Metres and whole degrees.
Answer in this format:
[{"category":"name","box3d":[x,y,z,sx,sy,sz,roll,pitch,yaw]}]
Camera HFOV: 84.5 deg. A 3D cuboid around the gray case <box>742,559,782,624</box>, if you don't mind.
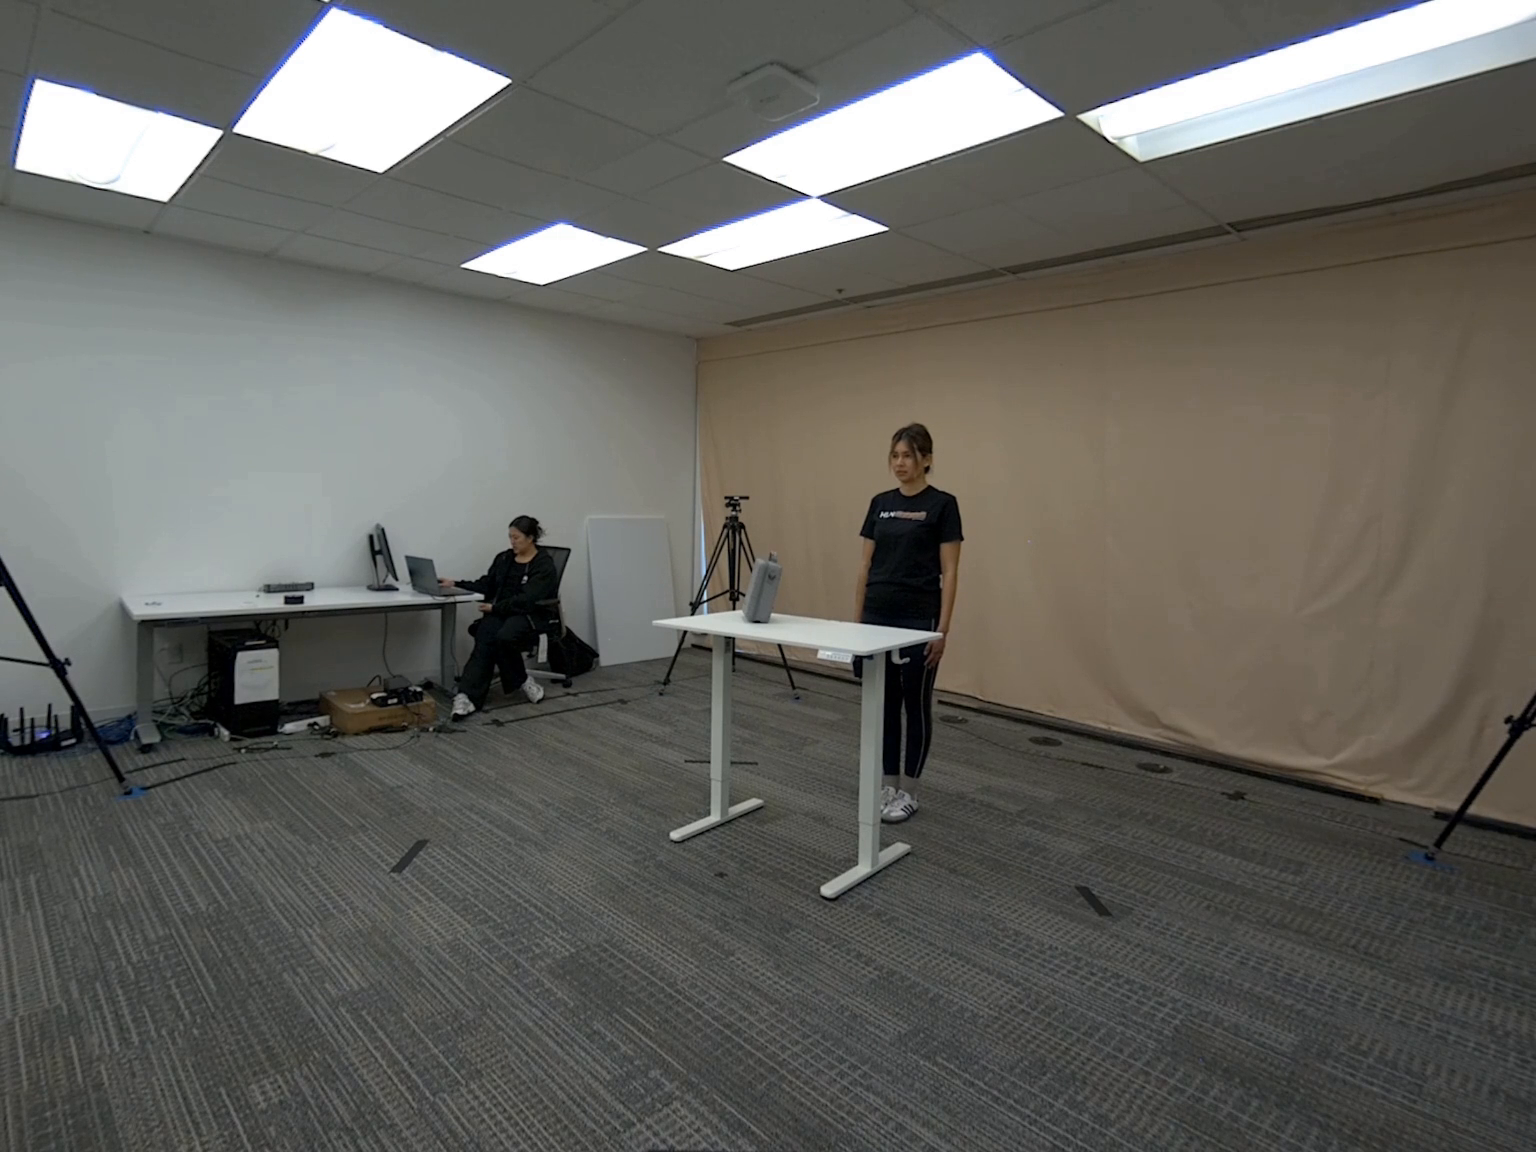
[{"category":"gray case","box3d":[-0.049,0.057,3.558,0.104,0.260,0.258,12,2,-7]}]
